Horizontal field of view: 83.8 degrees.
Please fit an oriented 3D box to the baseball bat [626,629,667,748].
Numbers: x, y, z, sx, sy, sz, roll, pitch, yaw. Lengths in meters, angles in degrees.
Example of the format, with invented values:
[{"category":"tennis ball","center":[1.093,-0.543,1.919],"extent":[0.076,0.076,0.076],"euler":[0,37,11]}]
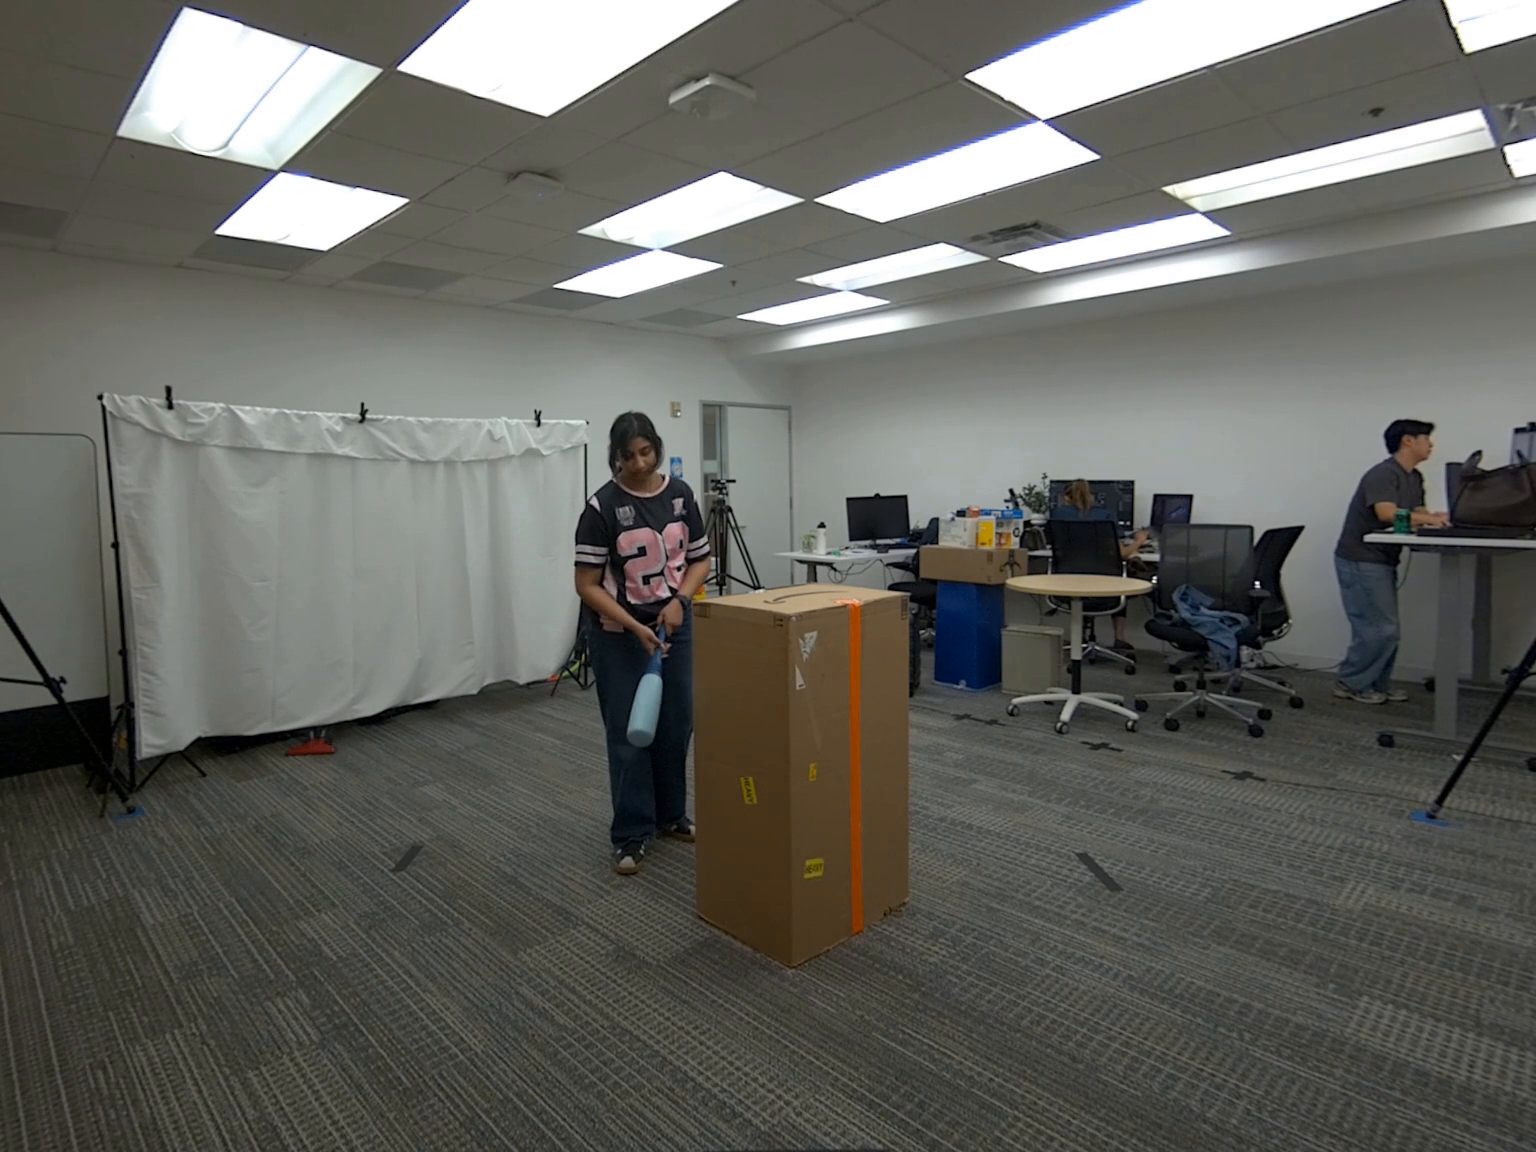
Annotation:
[{"category":"baseball bat","center":[-0.384,0.339,2.868],"extent":[0.089,0.086,0.555],"euler":[-1,37,5]}]
